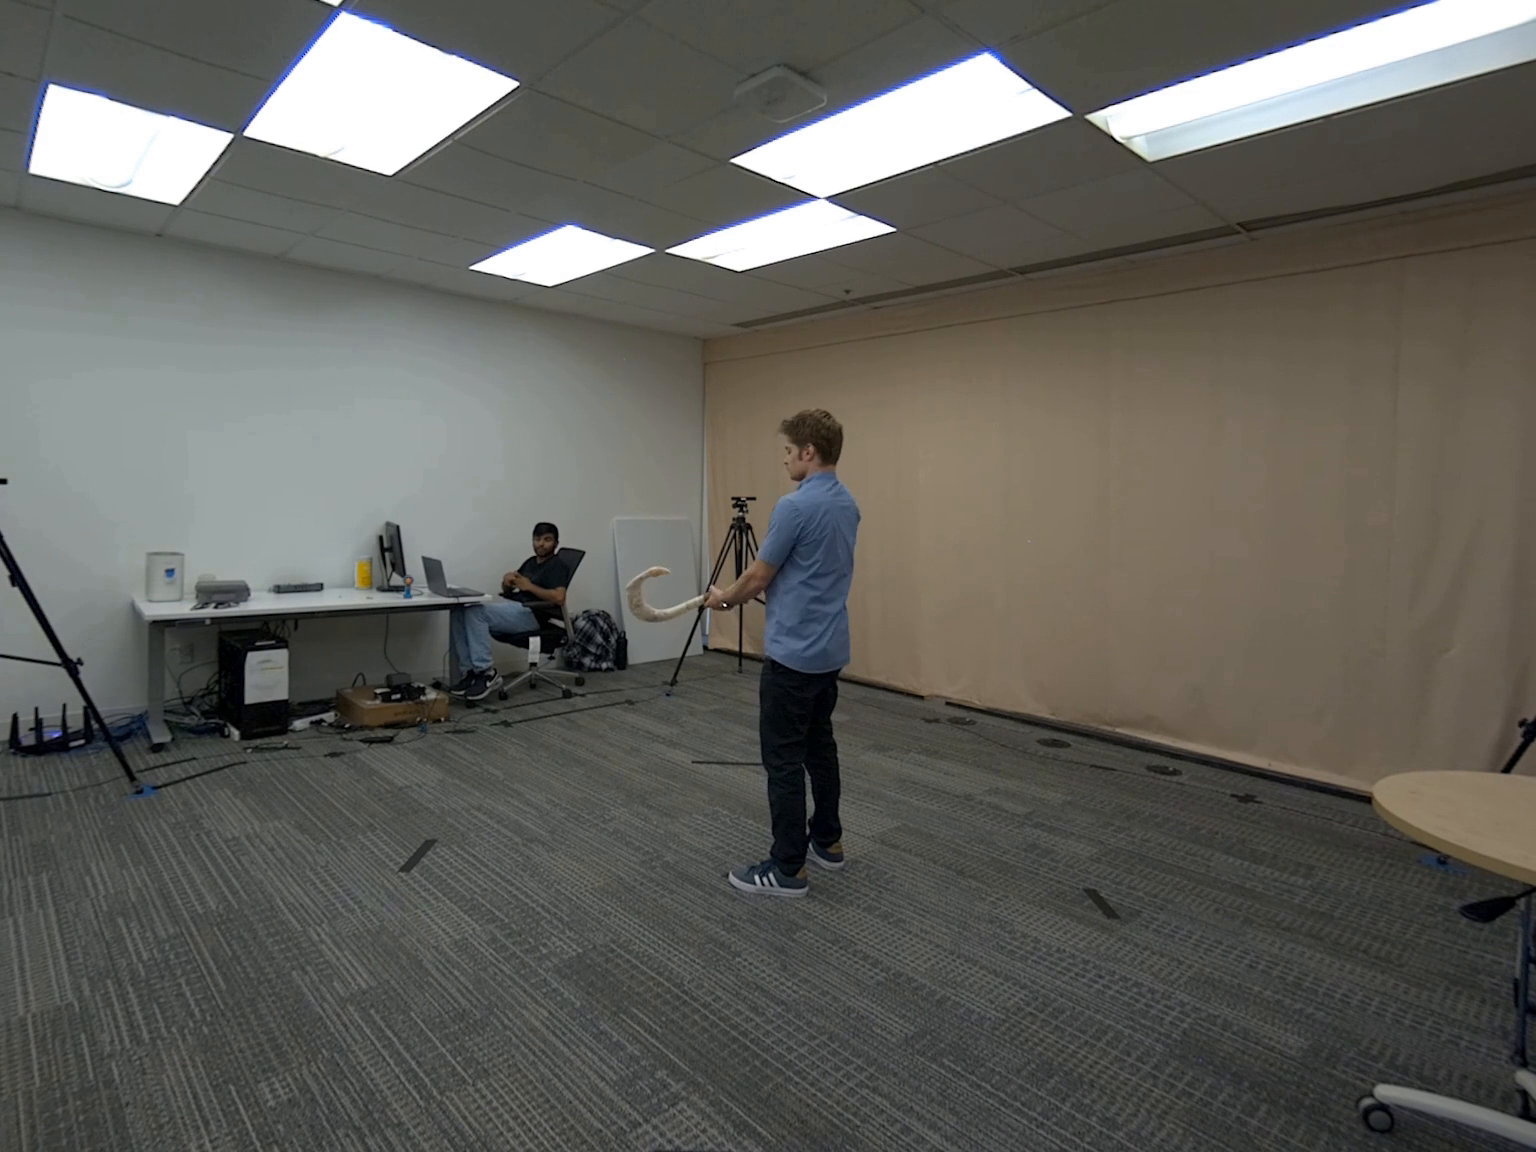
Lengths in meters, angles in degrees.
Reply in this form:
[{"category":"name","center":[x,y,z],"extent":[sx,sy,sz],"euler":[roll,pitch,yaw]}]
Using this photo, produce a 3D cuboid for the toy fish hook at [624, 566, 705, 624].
[{"category":"toy fish hook","center":[-0.296,0.064,3.303],"extent":[0.510,0.221,0.049],"euler":[-8,18,10]}]
